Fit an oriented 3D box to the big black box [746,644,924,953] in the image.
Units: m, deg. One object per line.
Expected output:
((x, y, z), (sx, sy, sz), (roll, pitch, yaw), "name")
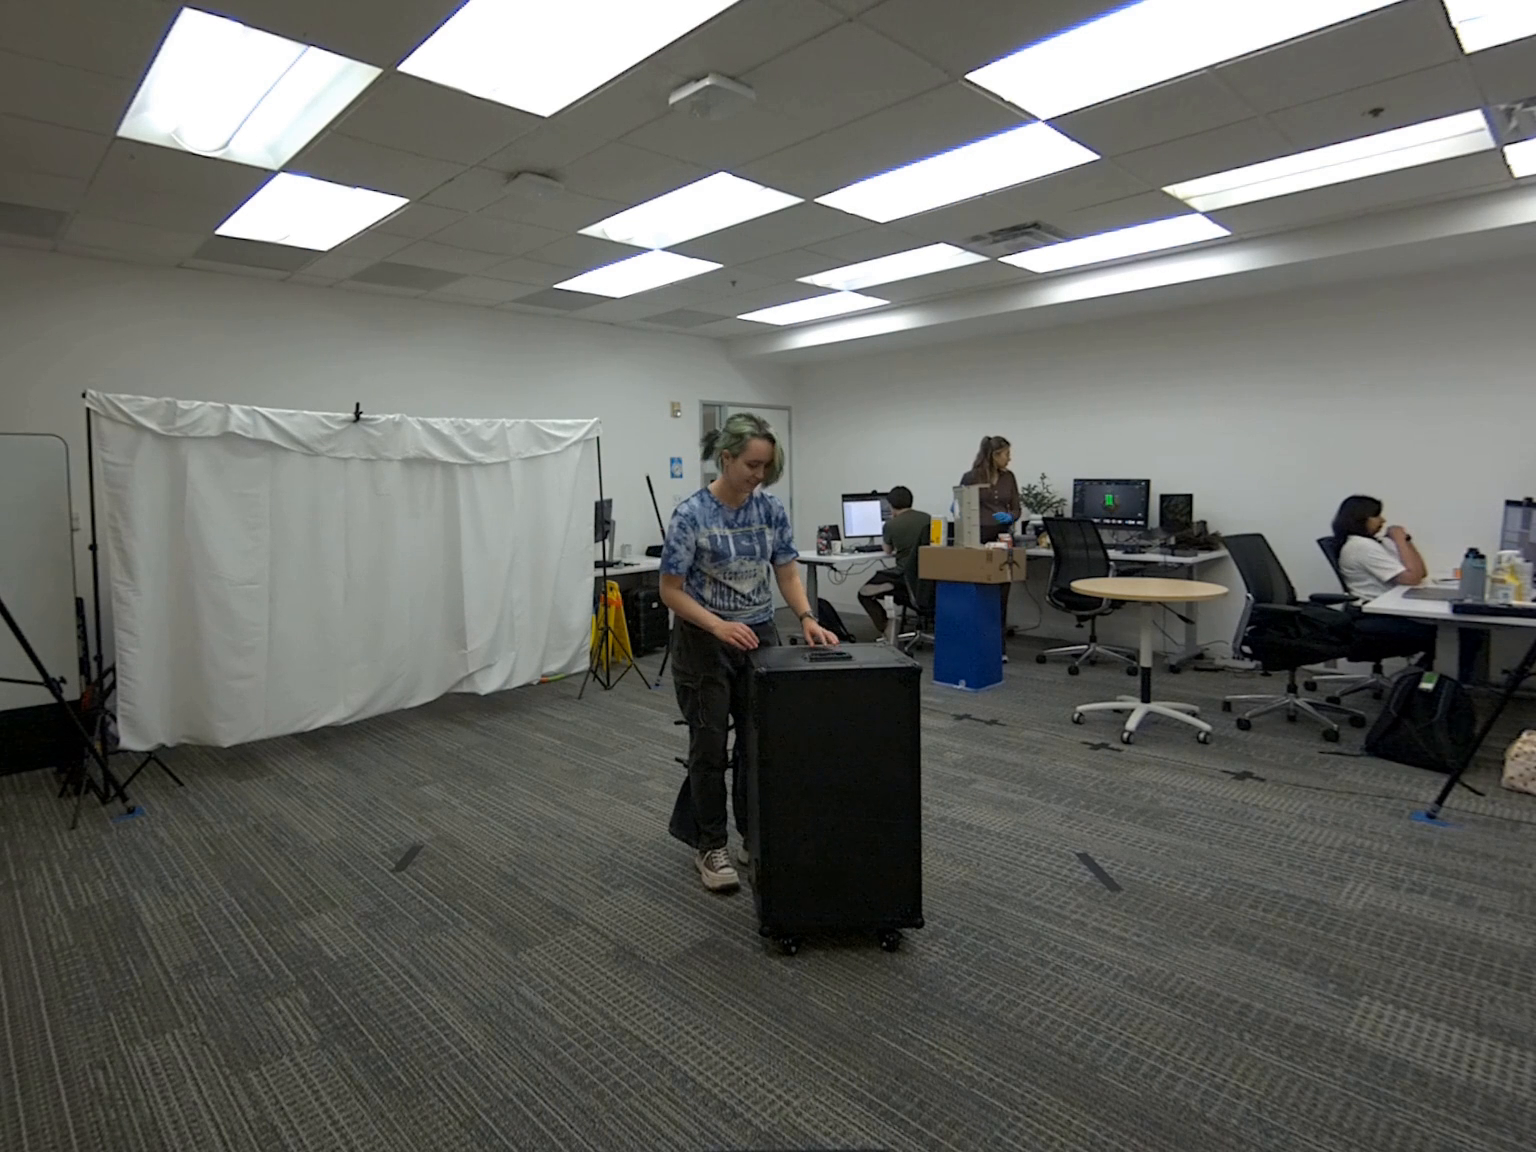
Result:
((0.194, 0.675, 2.650), (0.519, 0.859, 0.399), (-2, 3, -4), "big black box")
